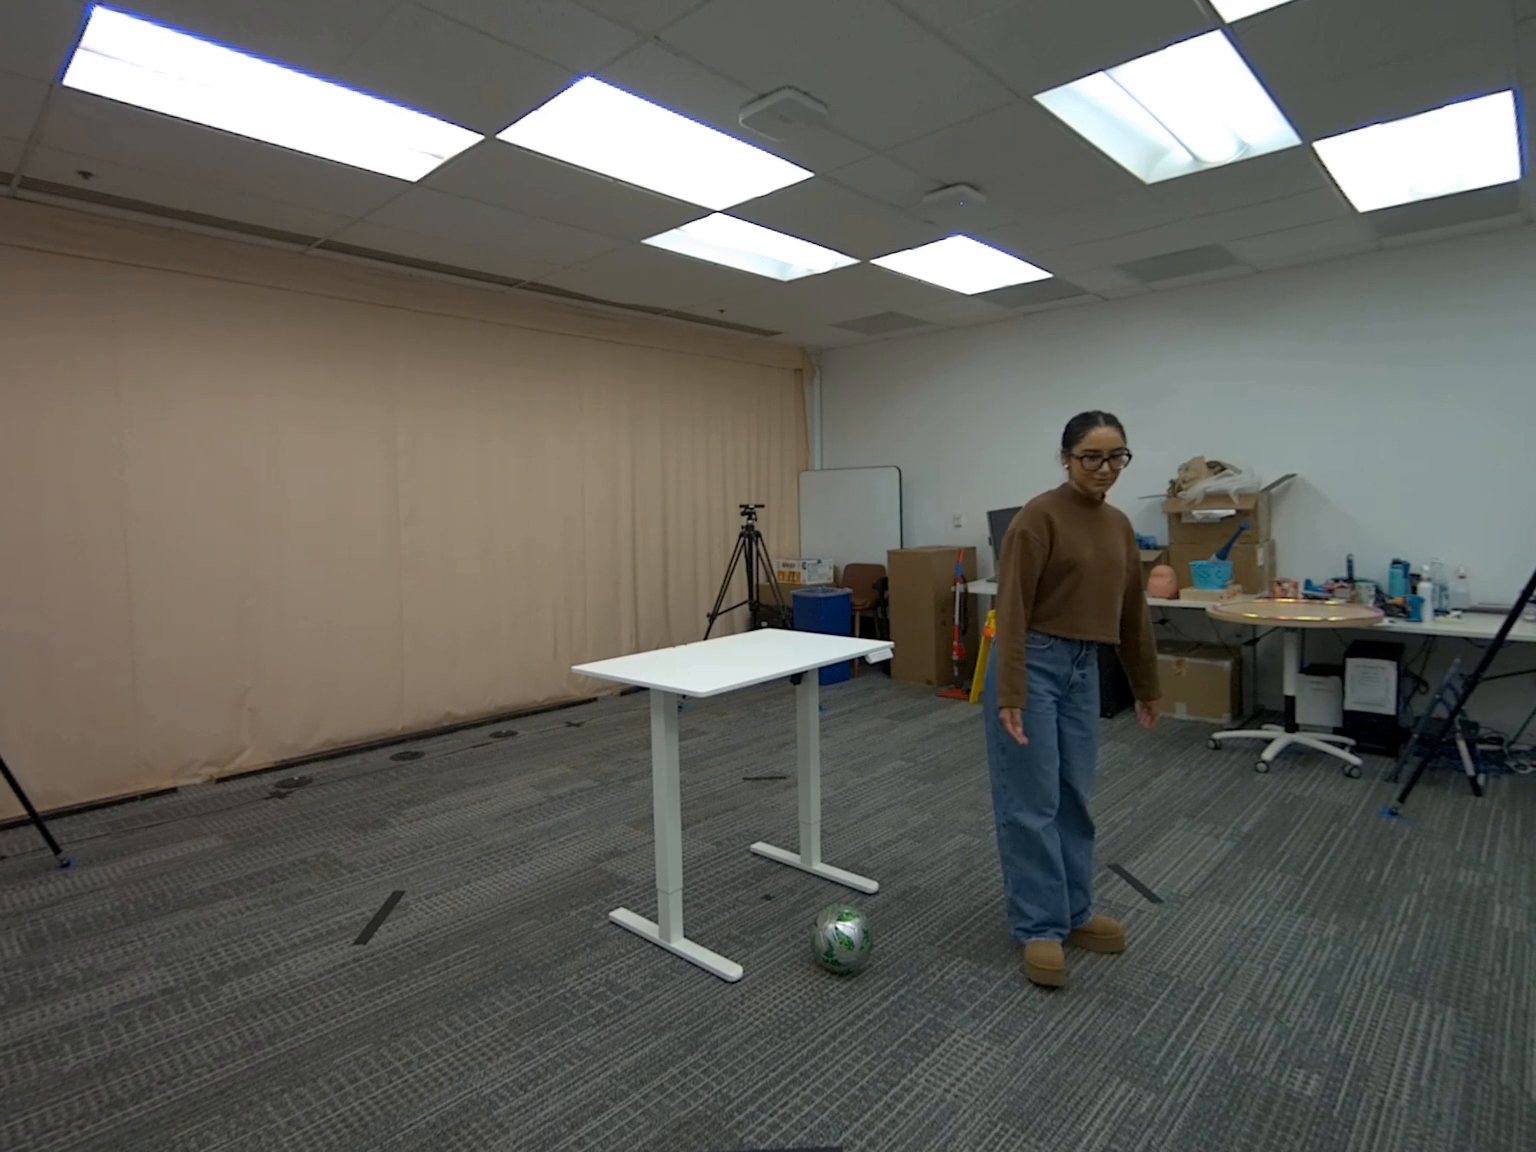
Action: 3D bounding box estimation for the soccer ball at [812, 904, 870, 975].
[{"bbox_3d":[0.229,1.089,2.515,0.187,0.187,0.188,-1,4,-2],"label":"soccer ball"}]
